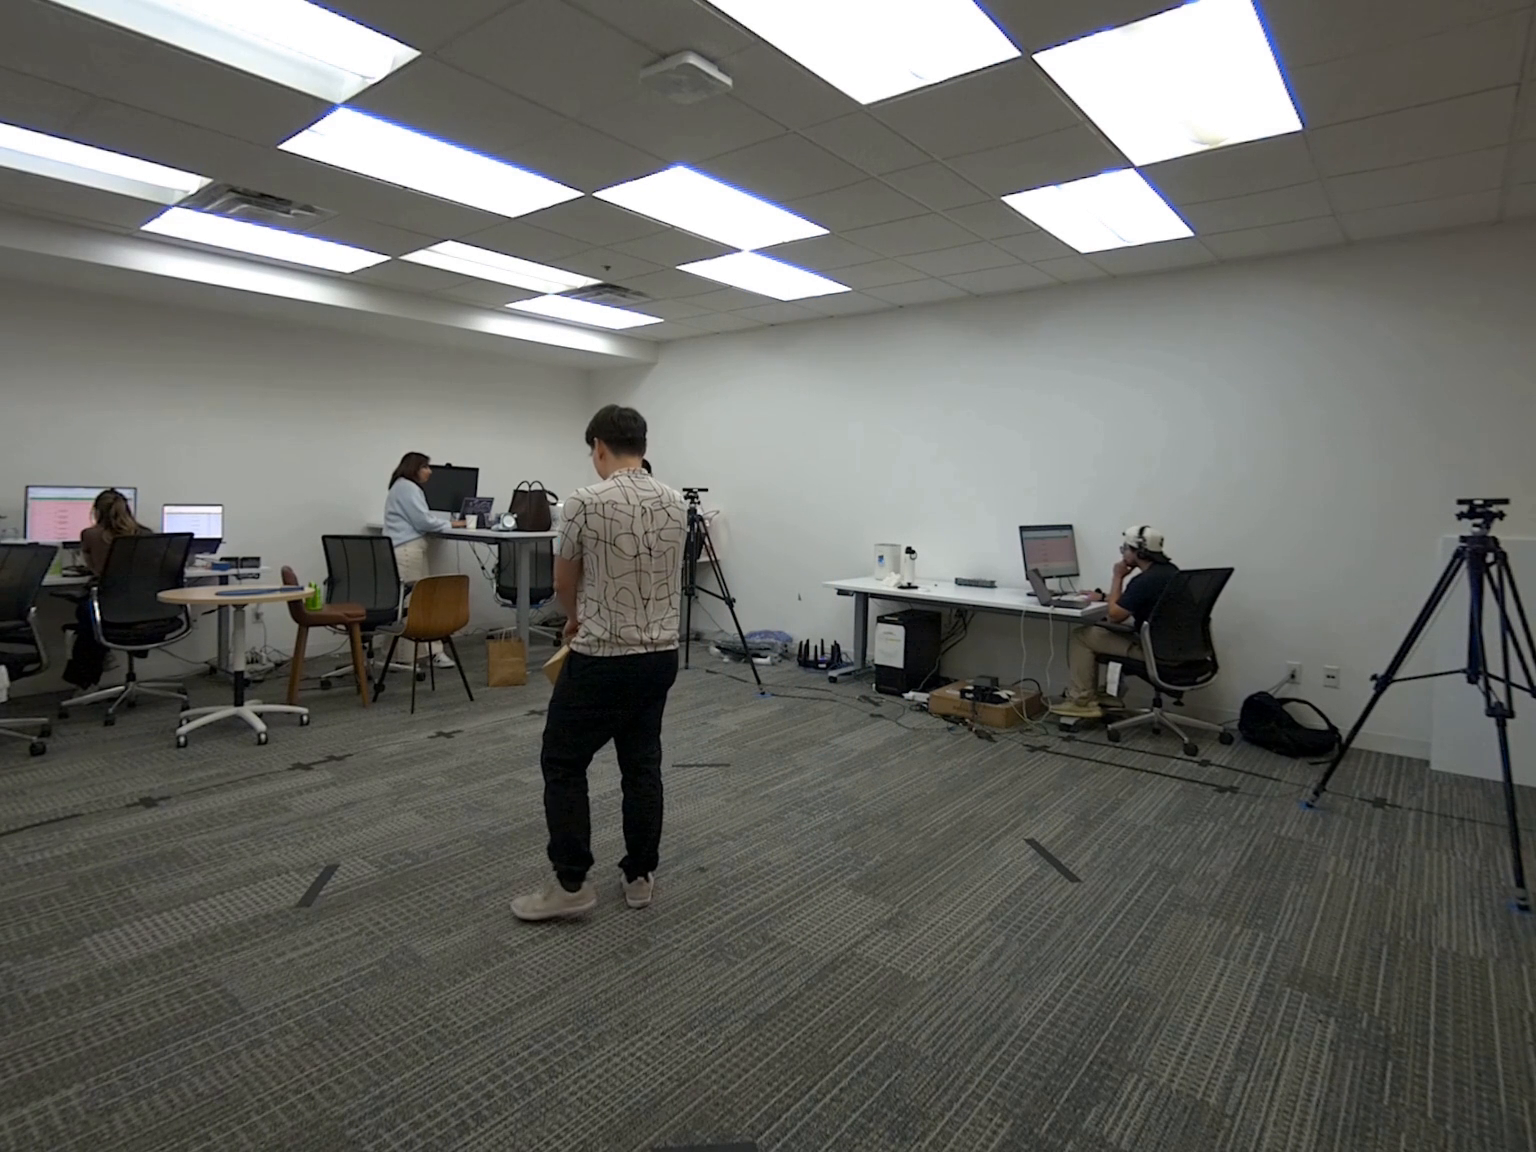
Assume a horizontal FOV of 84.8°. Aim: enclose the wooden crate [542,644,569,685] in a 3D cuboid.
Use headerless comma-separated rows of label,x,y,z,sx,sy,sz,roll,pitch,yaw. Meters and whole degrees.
wooden crate,-0.620,0.298,3.203,0.276,0.299,0.324,-28,10,30
